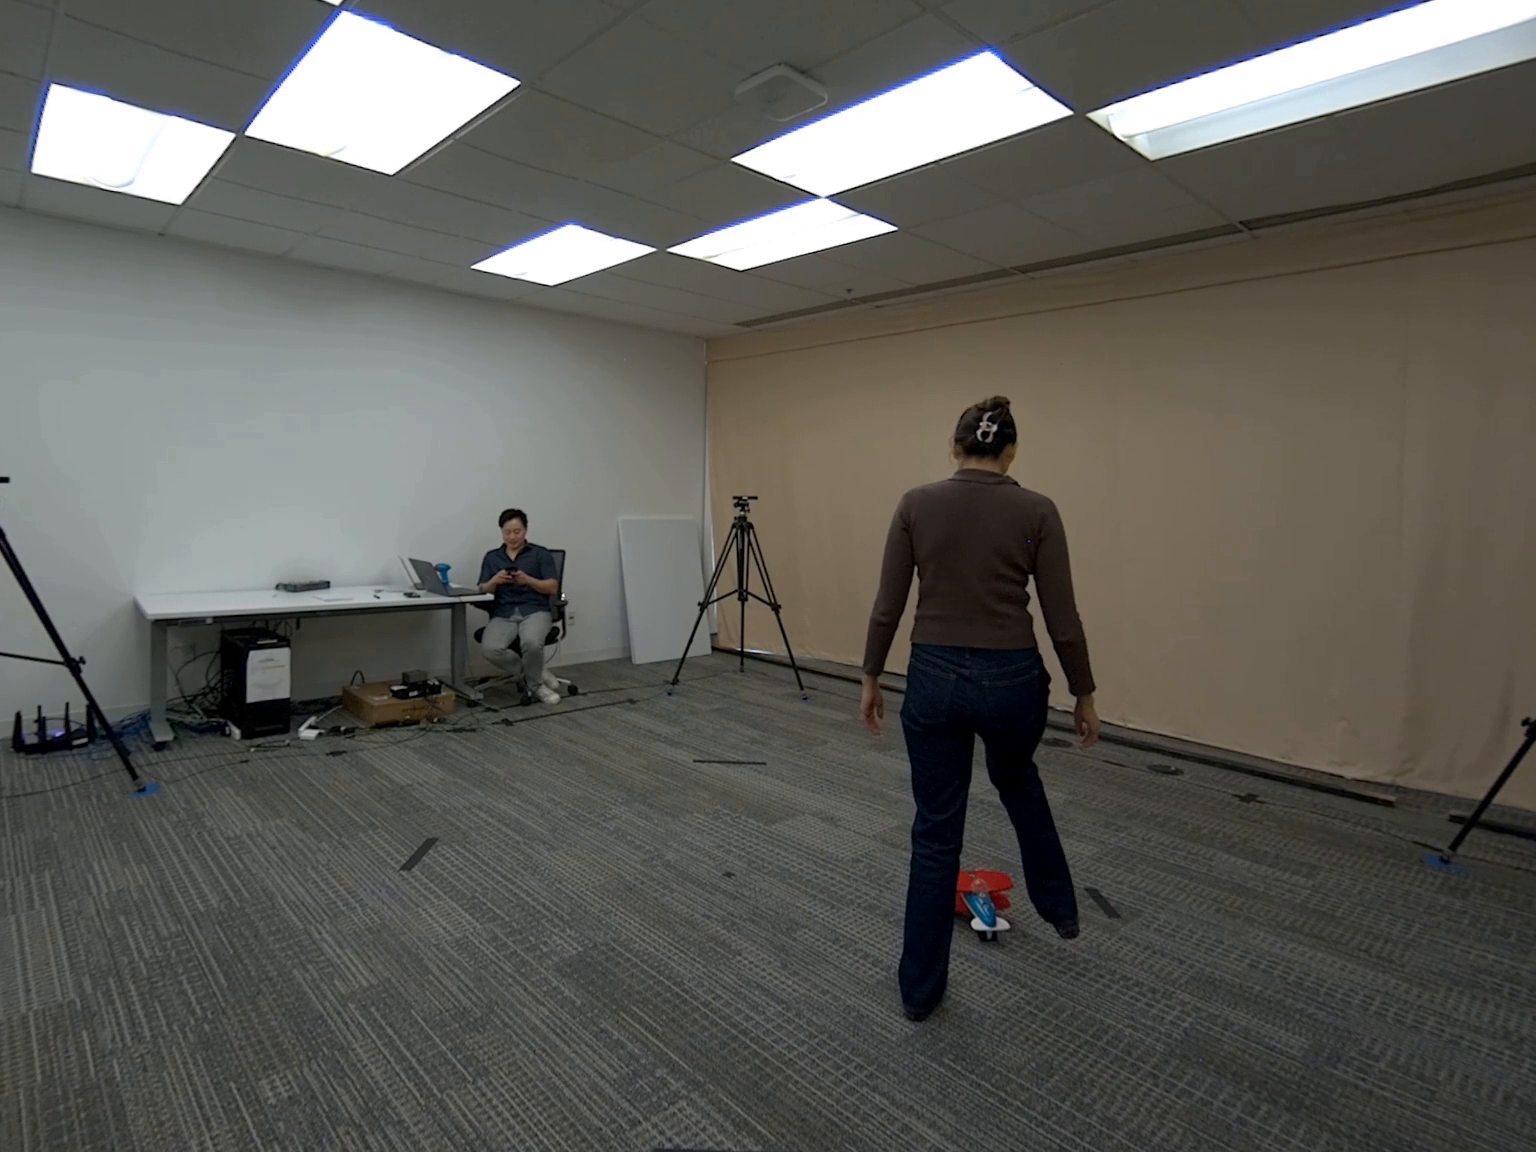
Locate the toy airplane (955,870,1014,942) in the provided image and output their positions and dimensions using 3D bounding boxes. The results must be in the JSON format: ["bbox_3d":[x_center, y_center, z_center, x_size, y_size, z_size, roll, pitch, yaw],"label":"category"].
[{"bbox_3d":[0.705,1.083,2.769,0.245,0.156,0.265,-1,5,-35],"label":"toy airplane"}]
